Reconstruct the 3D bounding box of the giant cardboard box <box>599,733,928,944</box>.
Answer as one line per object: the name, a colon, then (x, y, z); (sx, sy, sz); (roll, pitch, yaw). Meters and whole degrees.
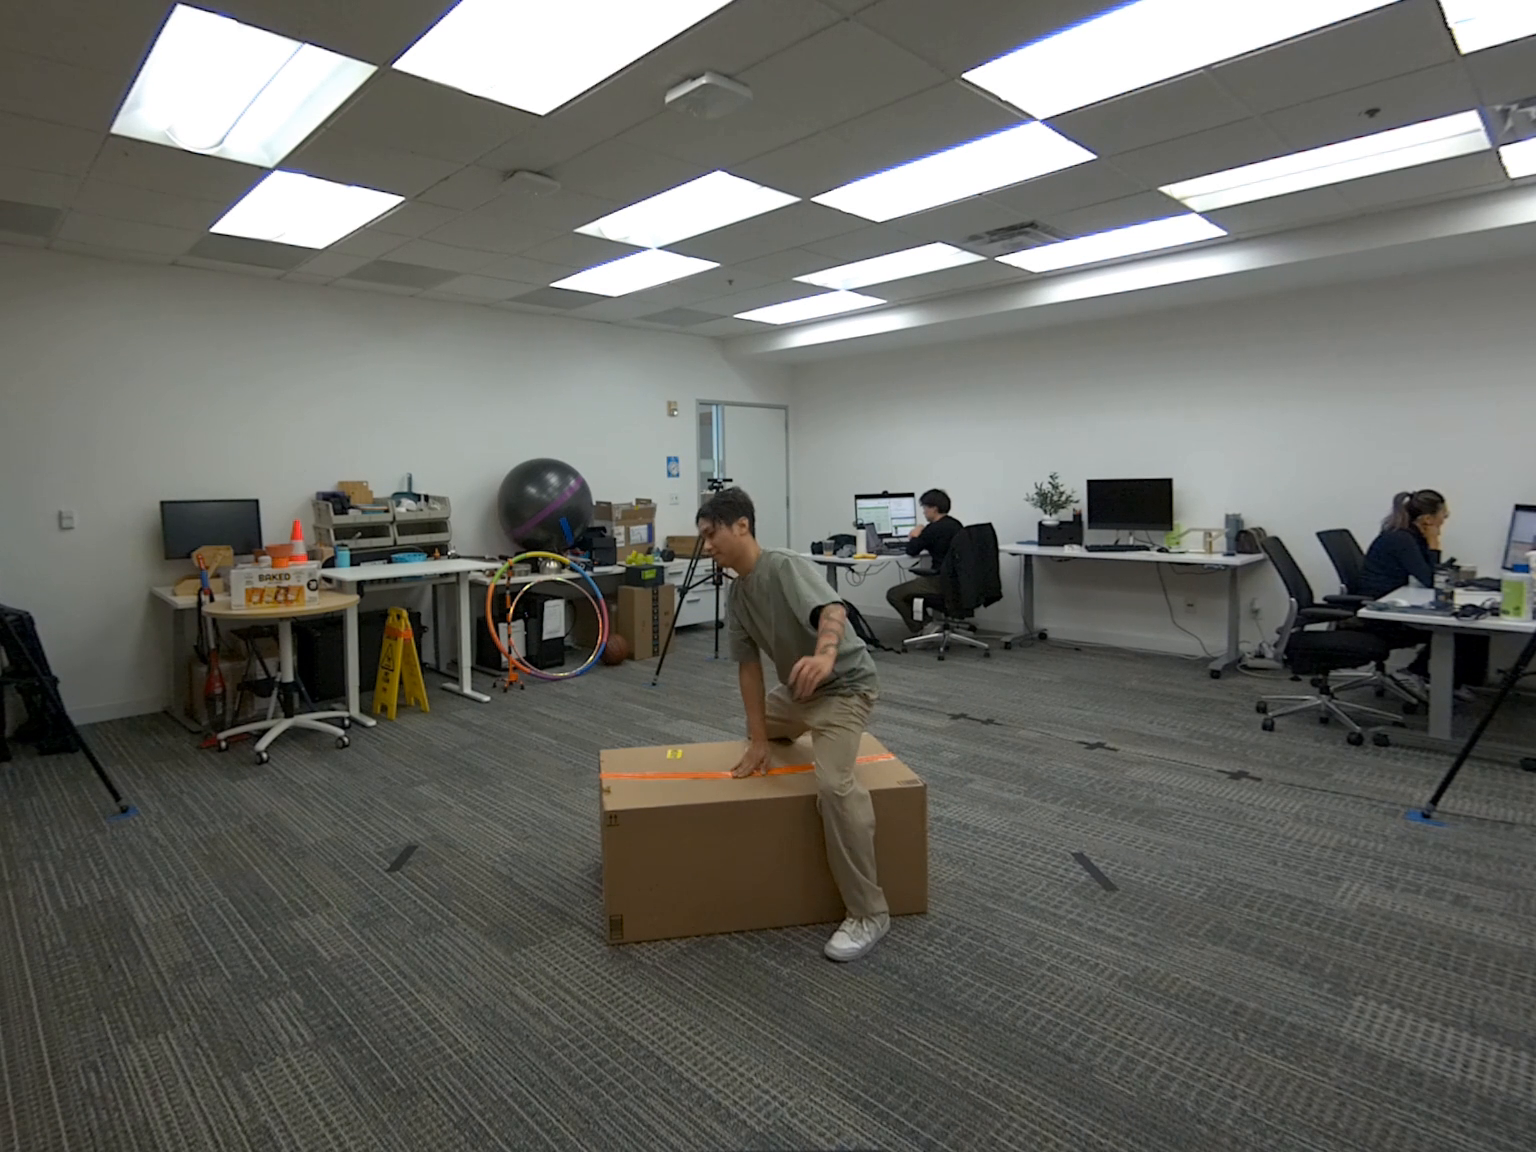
giant cardboard box: (-0.052, 0.856, 2.913); (1.017, 0.425, 0.585); (-2, 5, -10)
